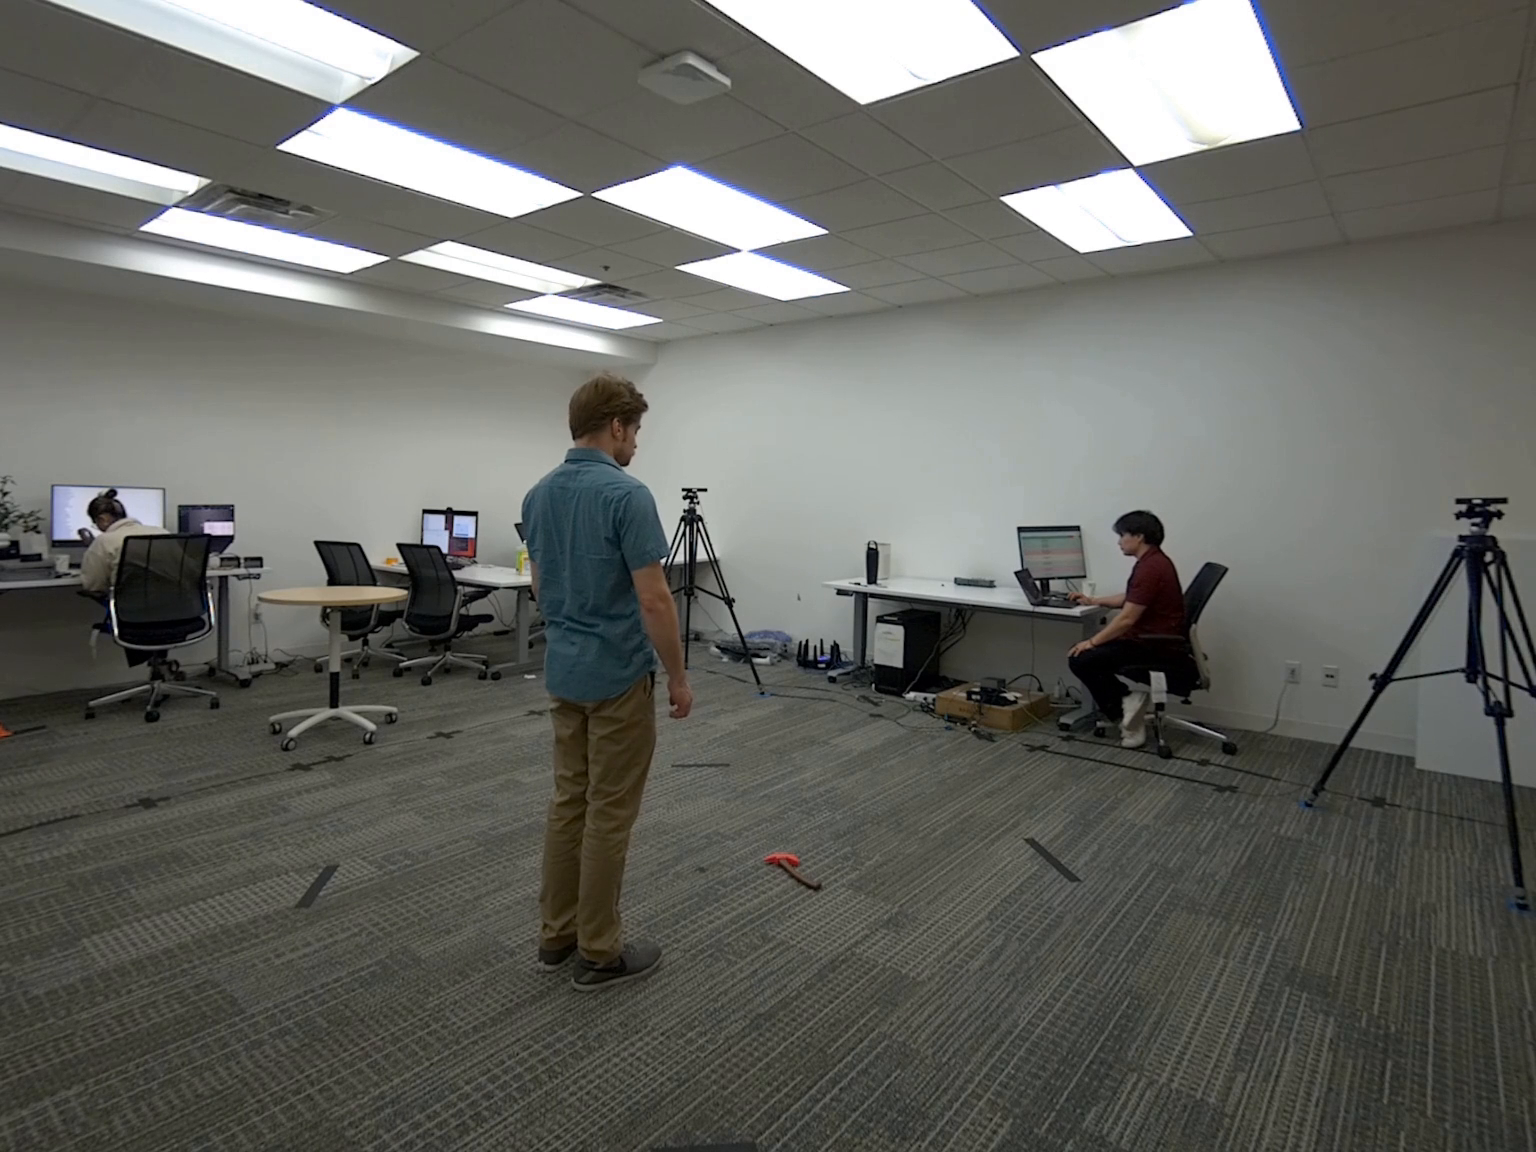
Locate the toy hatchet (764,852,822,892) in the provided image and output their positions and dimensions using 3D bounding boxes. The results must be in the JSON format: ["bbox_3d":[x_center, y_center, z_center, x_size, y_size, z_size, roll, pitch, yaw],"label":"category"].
[{"bbox_3d":[0.106,1.066,3.098,0.127,0.029,0.280,0,6,-42],"label":"toy hatchet"}]
